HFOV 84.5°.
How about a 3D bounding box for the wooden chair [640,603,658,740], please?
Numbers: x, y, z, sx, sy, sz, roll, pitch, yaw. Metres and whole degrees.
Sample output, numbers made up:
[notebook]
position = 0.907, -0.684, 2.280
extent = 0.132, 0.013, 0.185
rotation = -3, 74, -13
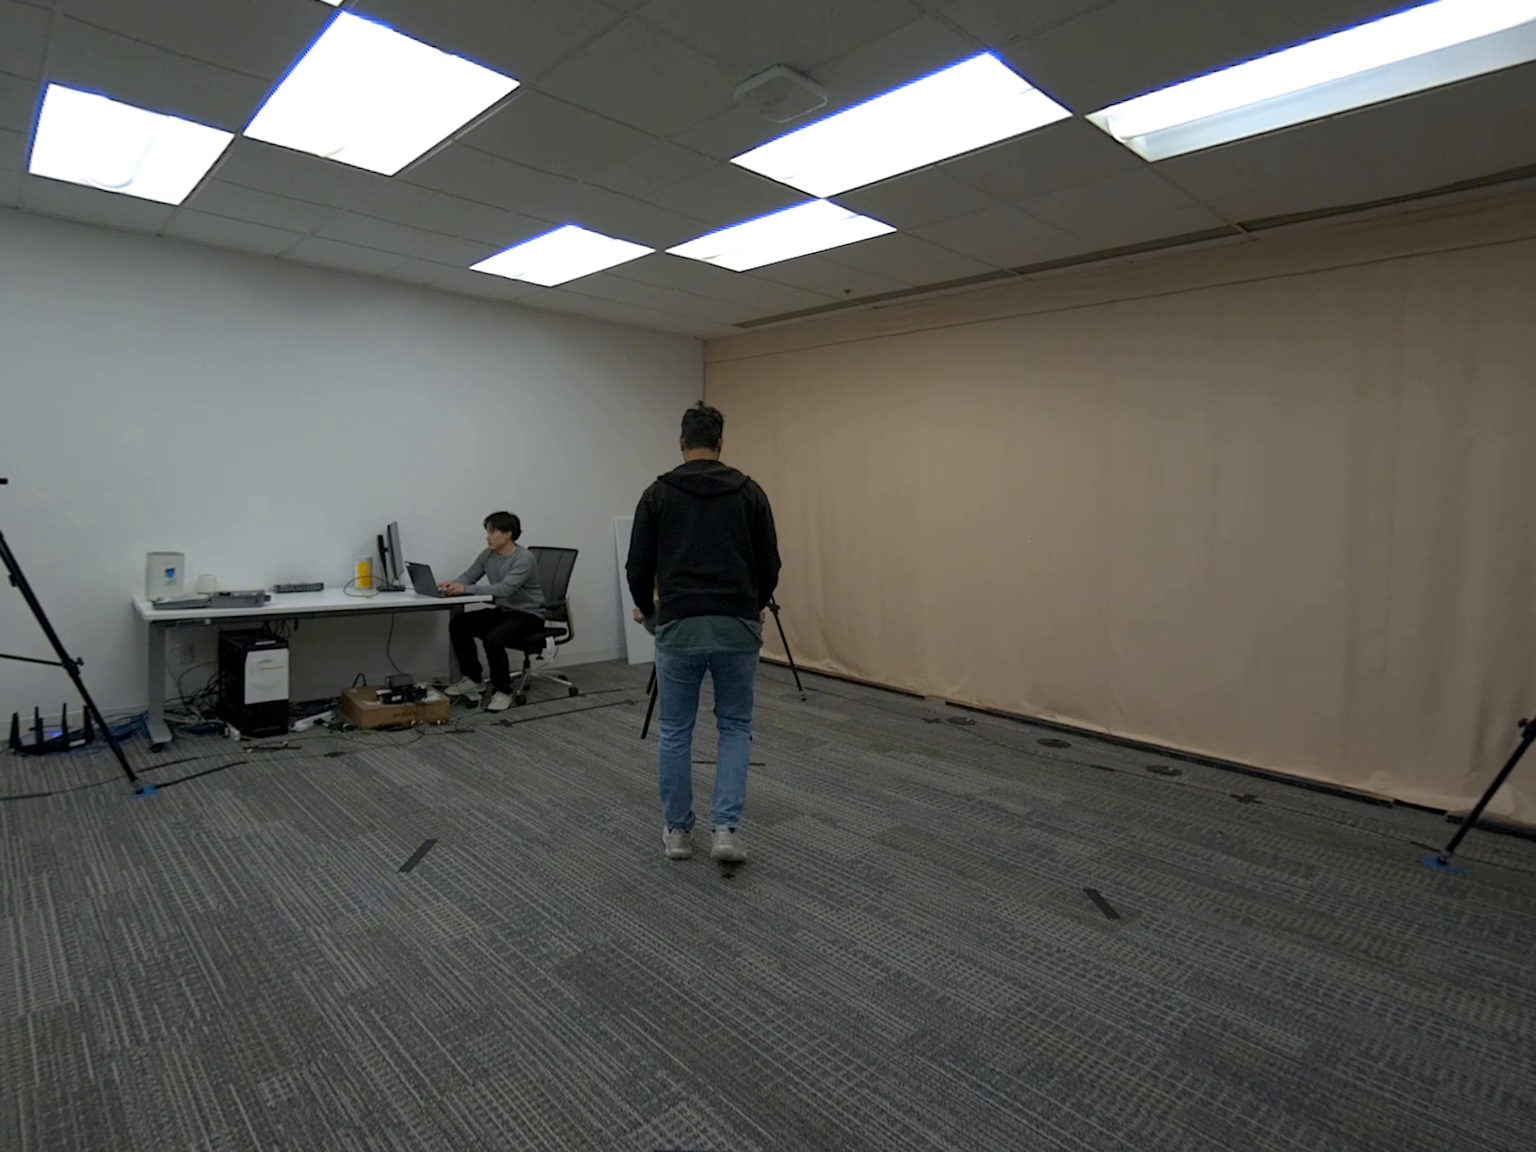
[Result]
[wooden chair]
position = -0.291, 0.212, 3.533
extent = 0.475, 0.871, 0.530
rotation = 3, 11, -7
